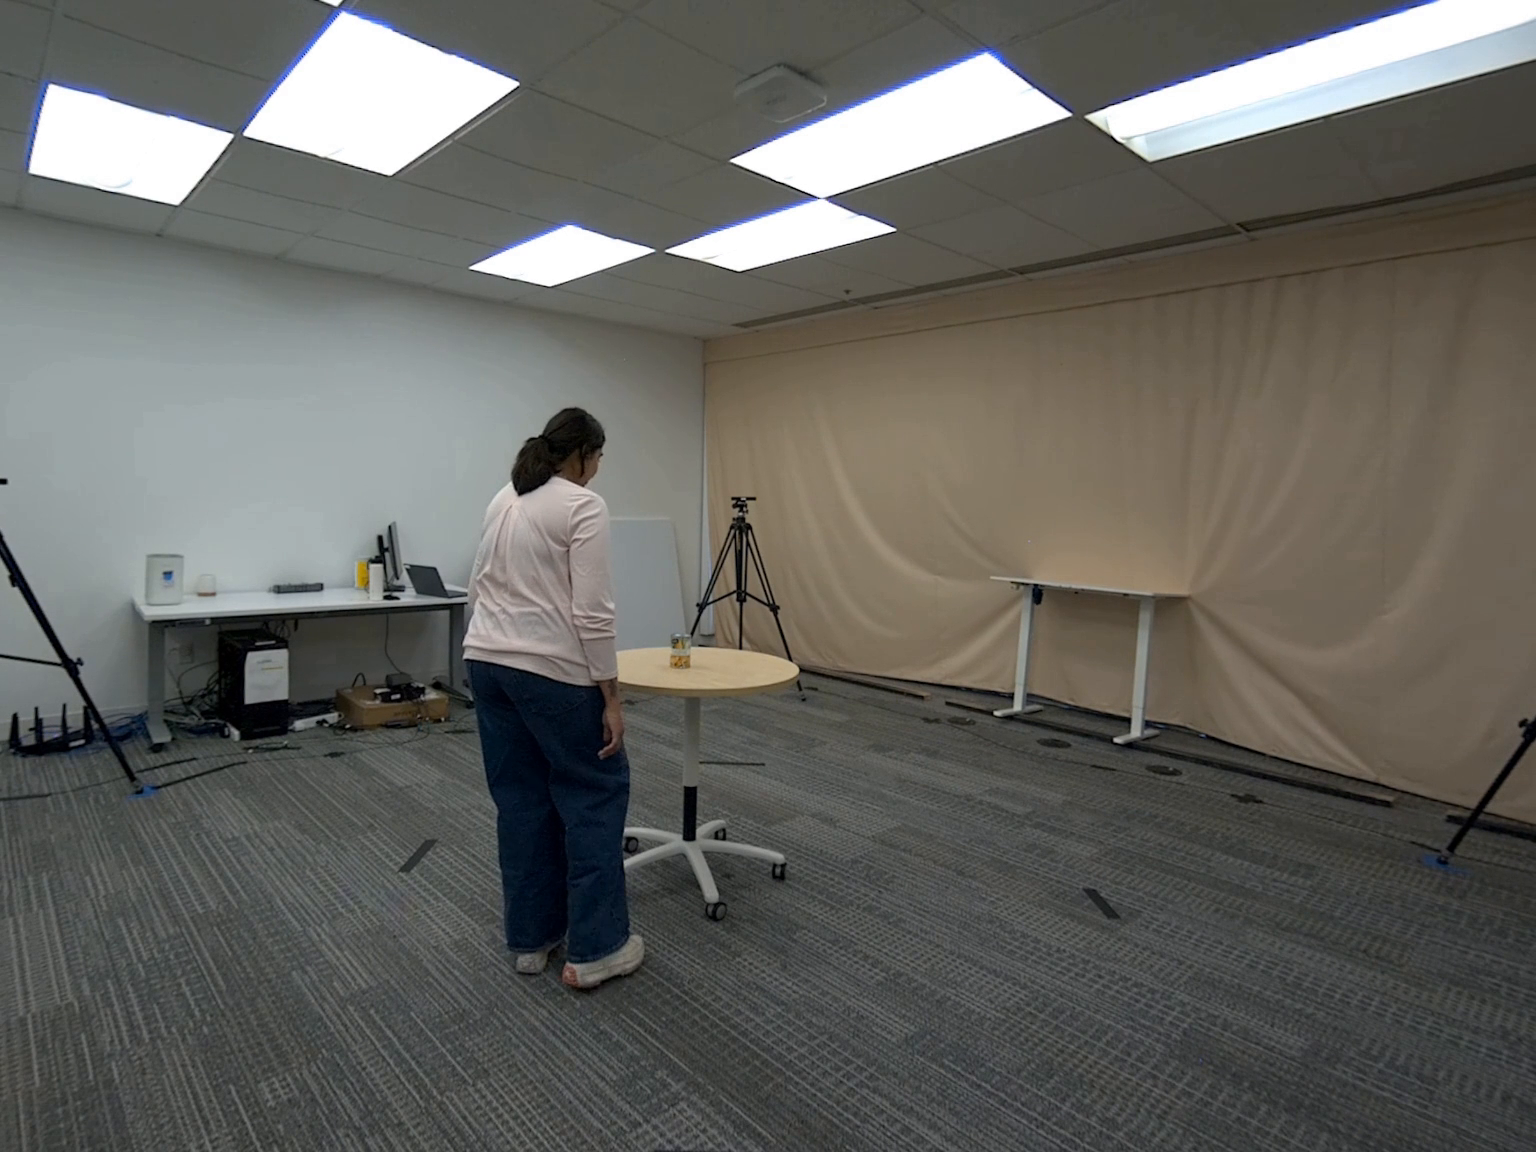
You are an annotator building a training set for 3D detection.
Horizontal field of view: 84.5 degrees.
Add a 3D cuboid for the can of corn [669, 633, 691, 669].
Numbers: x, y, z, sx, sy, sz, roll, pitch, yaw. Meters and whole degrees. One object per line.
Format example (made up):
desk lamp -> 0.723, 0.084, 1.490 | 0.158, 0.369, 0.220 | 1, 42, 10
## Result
can of corn -> -0.322, 0.271, 3.020 | 0.074, 0.111, 0.074 | 2, 3, -1
